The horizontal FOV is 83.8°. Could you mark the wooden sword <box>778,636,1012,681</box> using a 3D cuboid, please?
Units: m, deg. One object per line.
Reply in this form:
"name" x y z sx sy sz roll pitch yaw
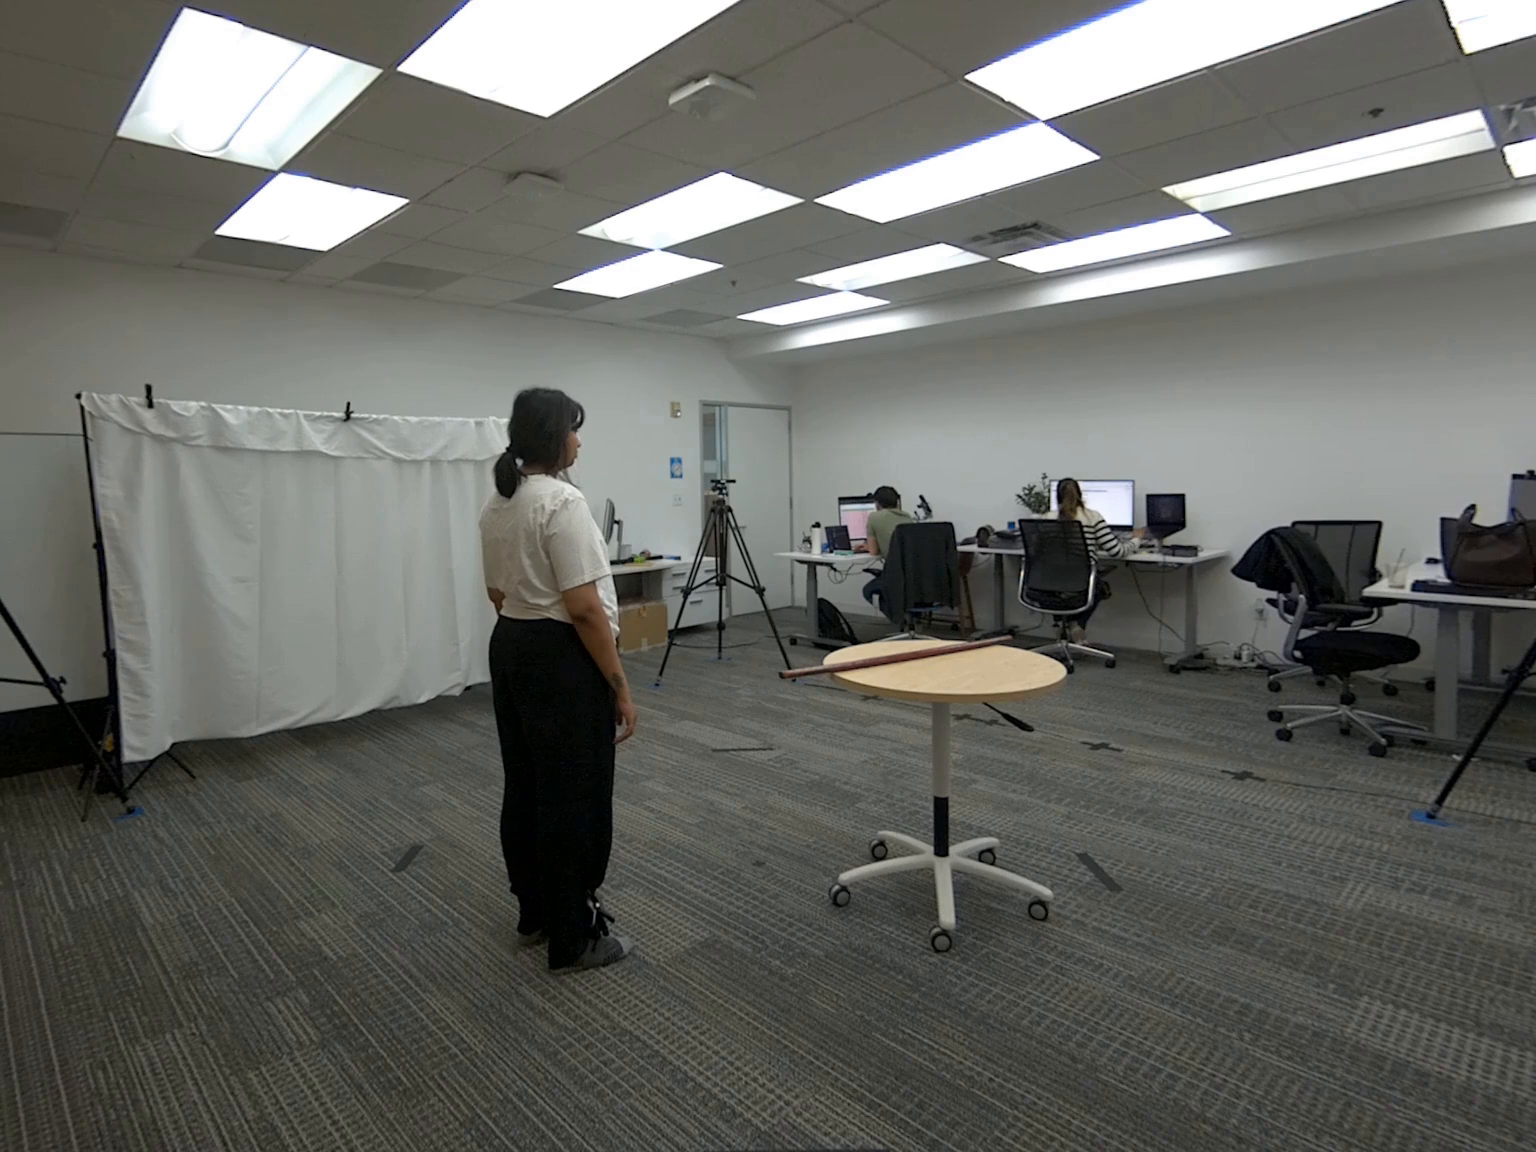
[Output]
"wooden sword" 0.443 0.263 2.892 1.002 0.025 0.051 -6 -28 -30
